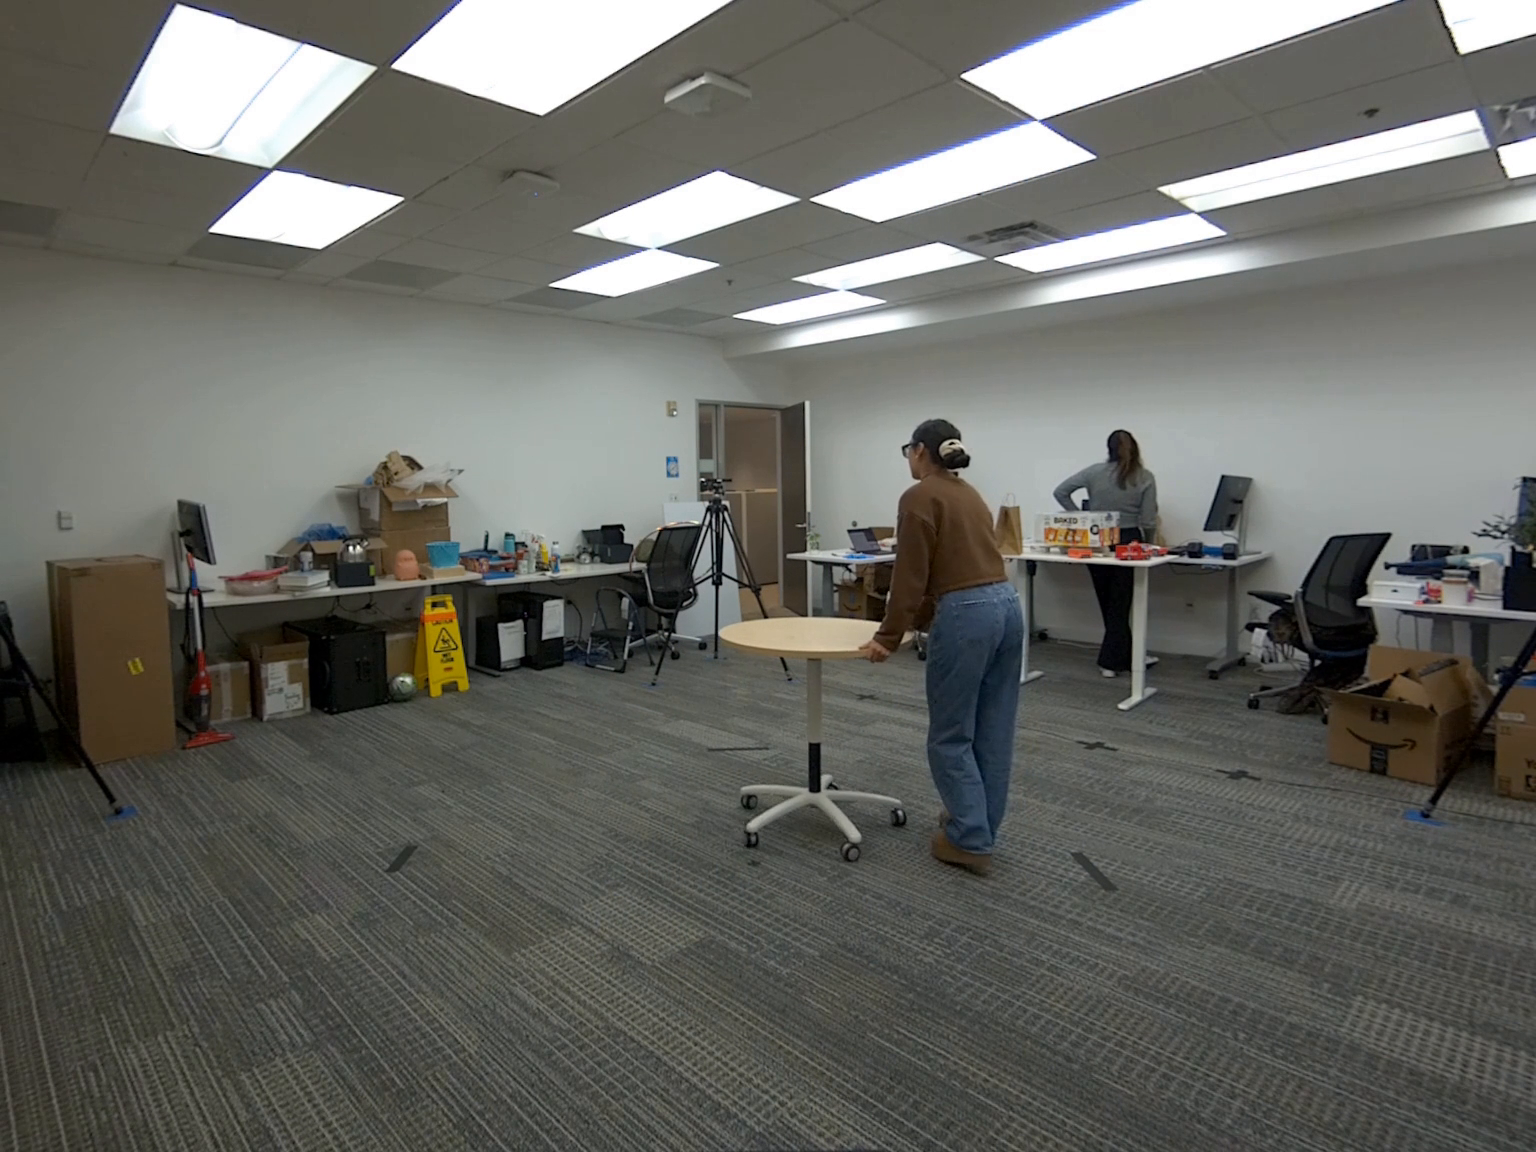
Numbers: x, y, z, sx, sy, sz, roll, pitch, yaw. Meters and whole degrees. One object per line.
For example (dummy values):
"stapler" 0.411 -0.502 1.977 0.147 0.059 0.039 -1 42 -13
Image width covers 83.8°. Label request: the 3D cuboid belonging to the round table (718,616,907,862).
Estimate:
"round table" 0.194 0.610 3.429 0.784 0.783 0.789 0 5 -2
